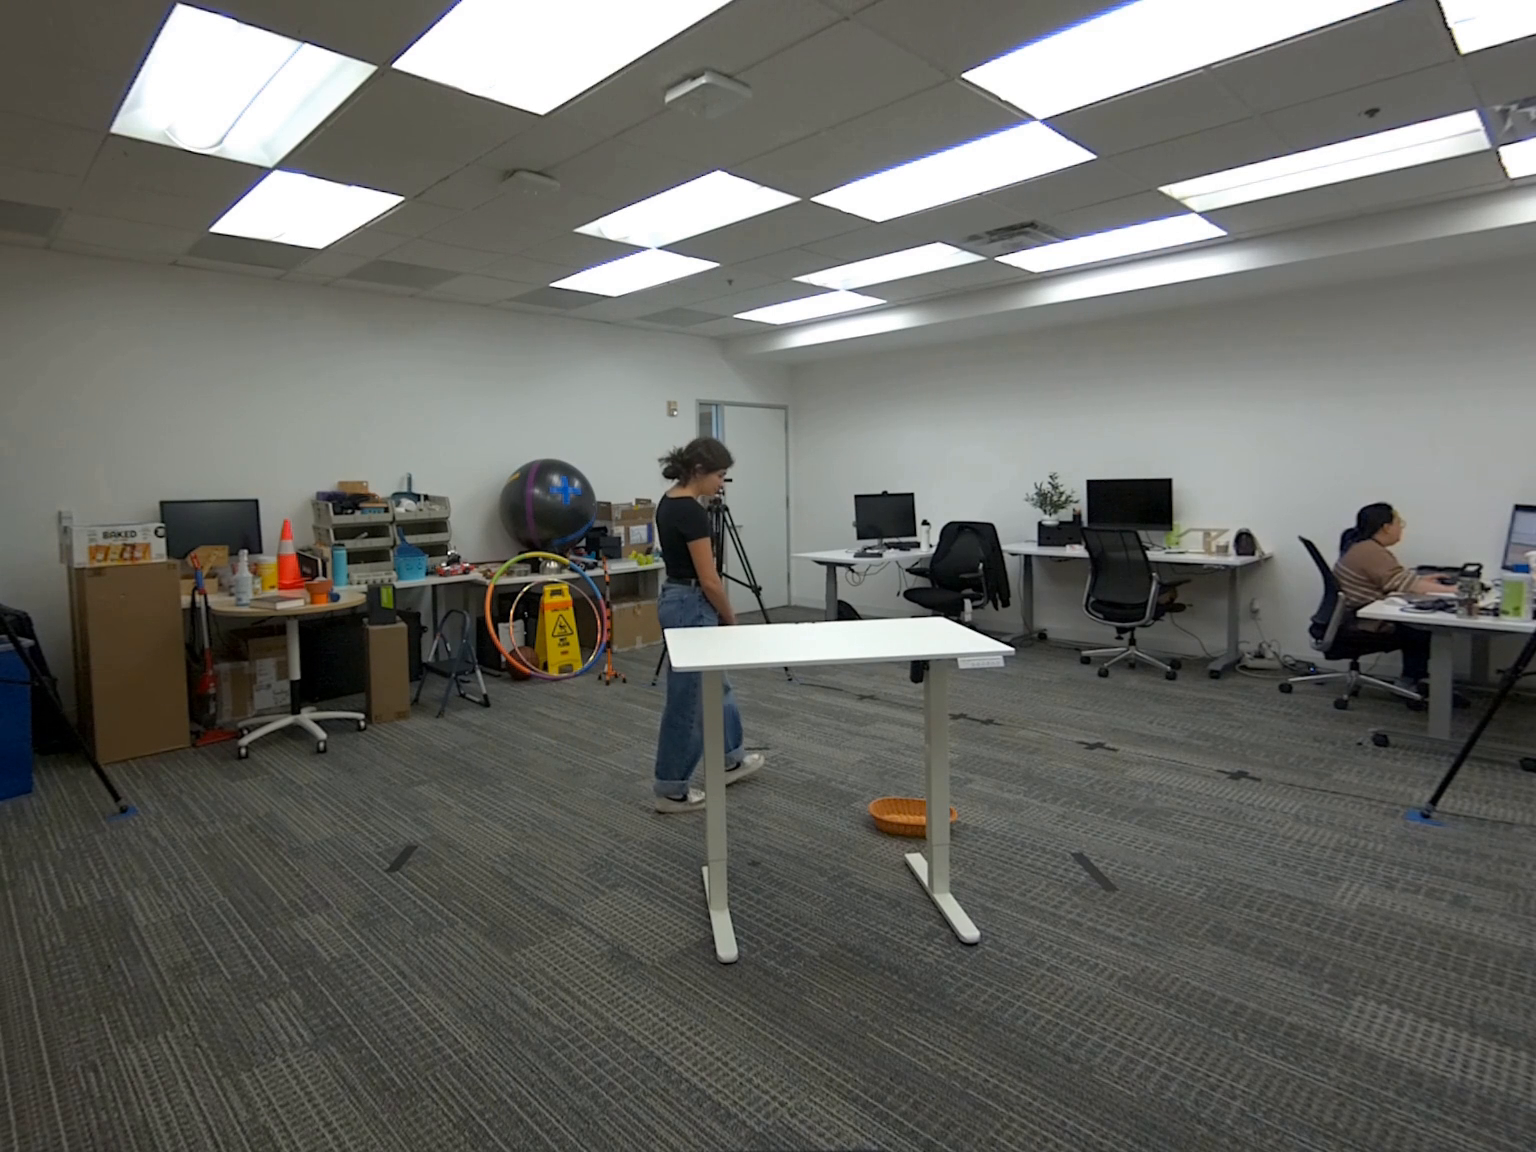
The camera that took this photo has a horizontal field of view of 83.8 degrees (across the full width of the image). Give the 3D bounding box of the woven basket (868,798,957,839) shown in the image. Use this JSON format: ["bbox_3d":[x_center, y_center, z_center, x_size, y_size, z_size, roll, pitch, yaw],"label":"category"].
[{"bbox_3d":[0.571,0.963,3.397,0.356,0.073,0.250,1,8,16],"label":"woven basket"}]
